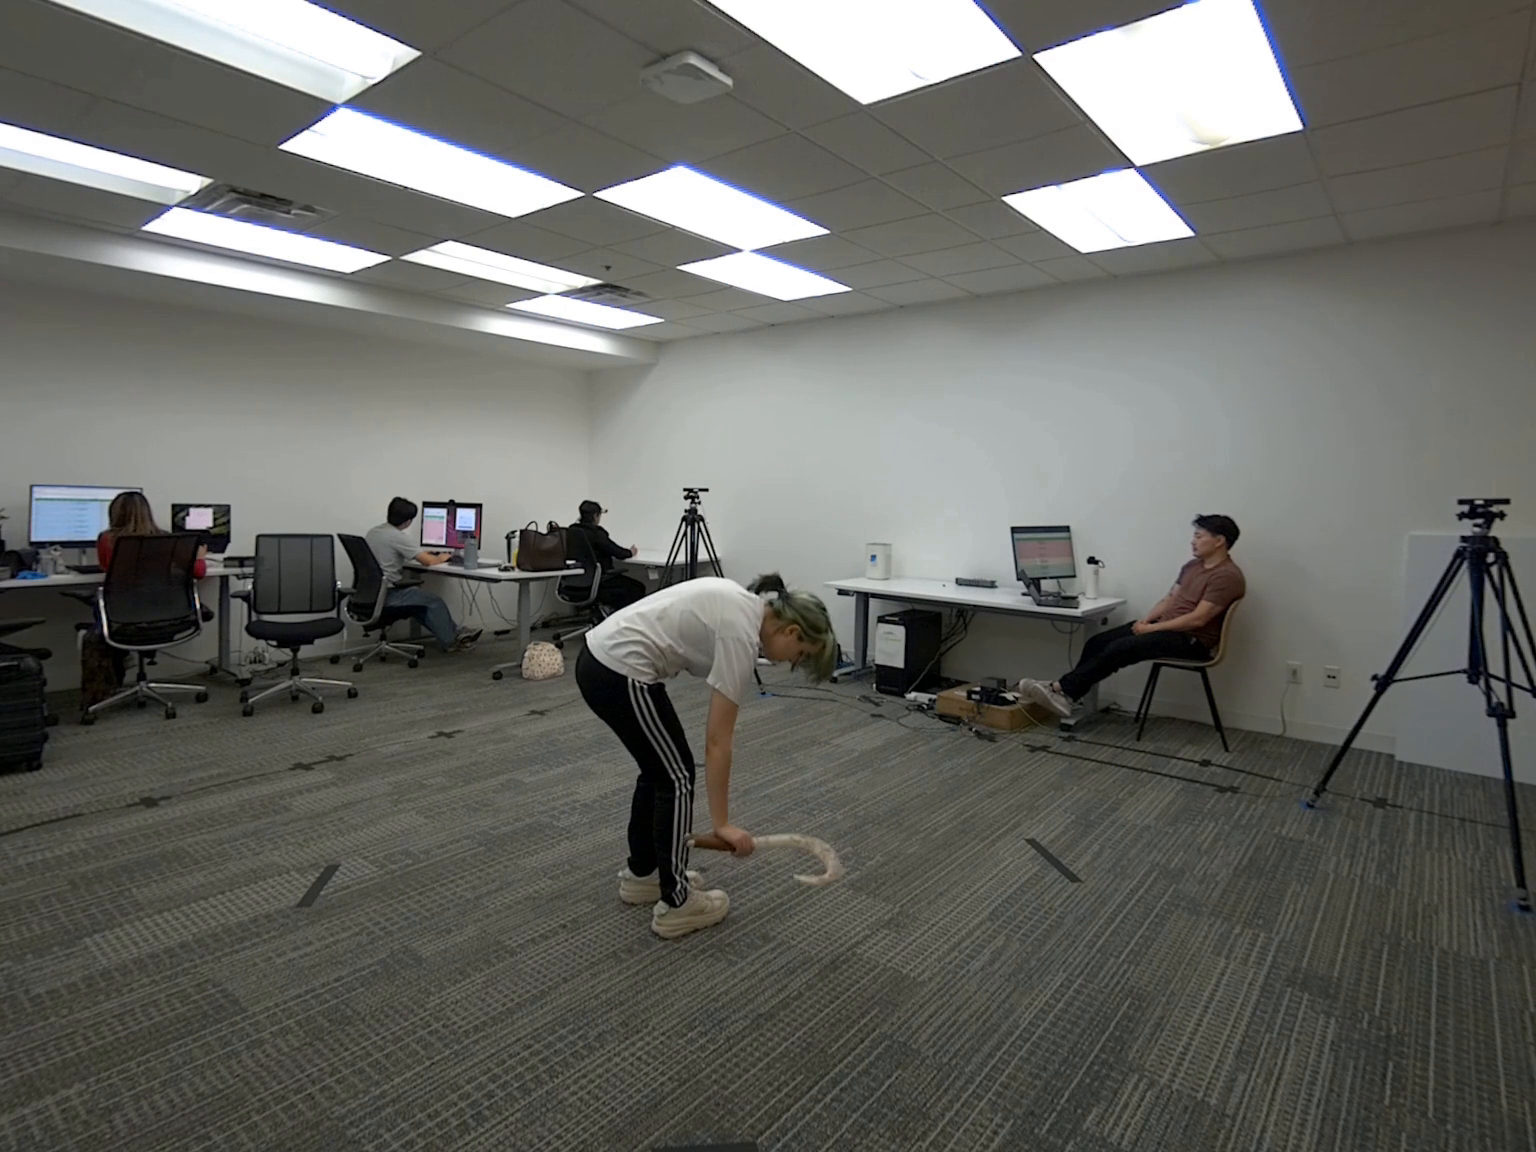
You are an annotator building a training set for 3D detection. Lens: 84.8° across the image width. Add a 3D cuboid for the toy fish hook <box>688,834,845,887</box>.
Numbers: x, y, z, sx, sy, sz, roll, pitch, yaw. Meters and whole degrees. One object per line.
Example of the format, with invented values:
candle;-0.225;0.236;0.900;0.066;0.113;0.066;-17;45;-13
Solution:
toy fish hook;-0.007;0.842;2.538;0.496;0.048;0.231;9;14;-19
